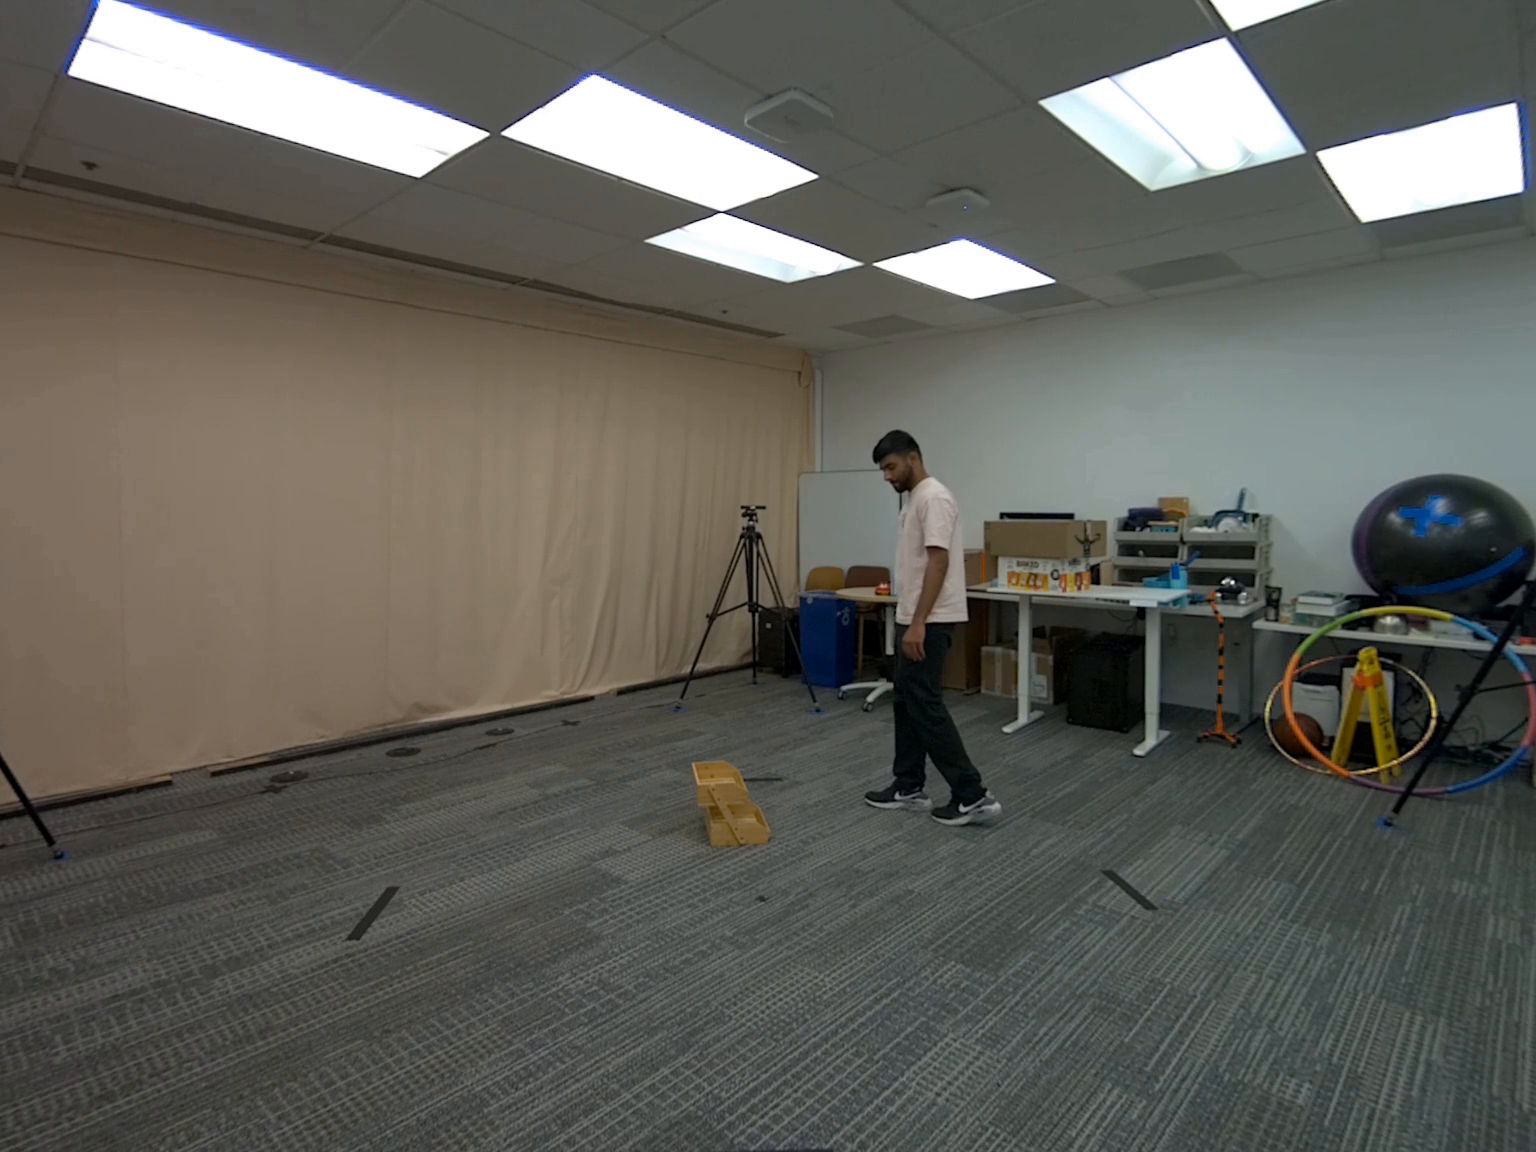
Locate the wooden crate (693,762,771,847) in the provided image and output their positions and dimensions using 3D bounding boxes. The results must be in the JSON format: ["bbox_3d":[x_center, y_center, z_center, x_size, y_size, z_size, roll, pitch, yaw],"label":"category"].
[{"bbox_3d":[-0.159,0.957,3.603,0.299,0.273,0.328,-2,3,-9],"label":"wooden crate"}]
